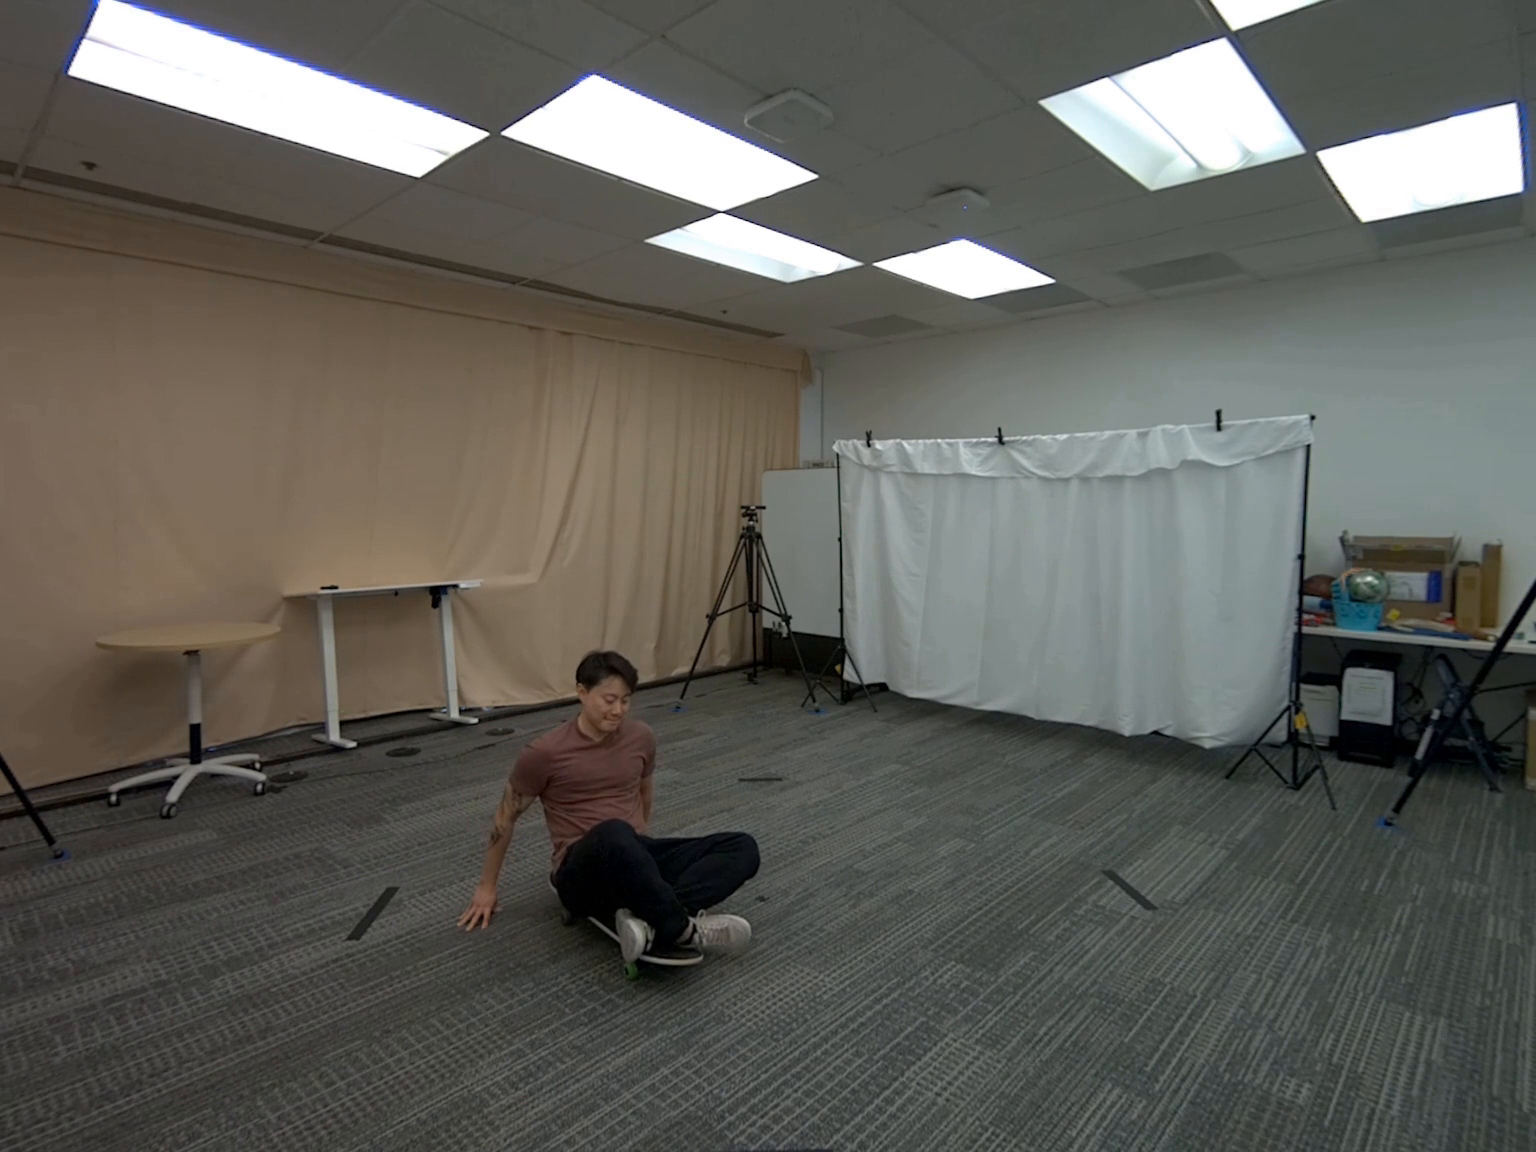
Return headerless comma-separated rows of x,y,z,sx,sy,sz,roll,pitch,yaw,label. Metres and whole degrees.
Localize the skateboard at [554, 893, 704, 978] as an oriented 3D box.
-0.471,1.128,2.698,0.187,0.110,0.811,11,-4,-38,skateboard
